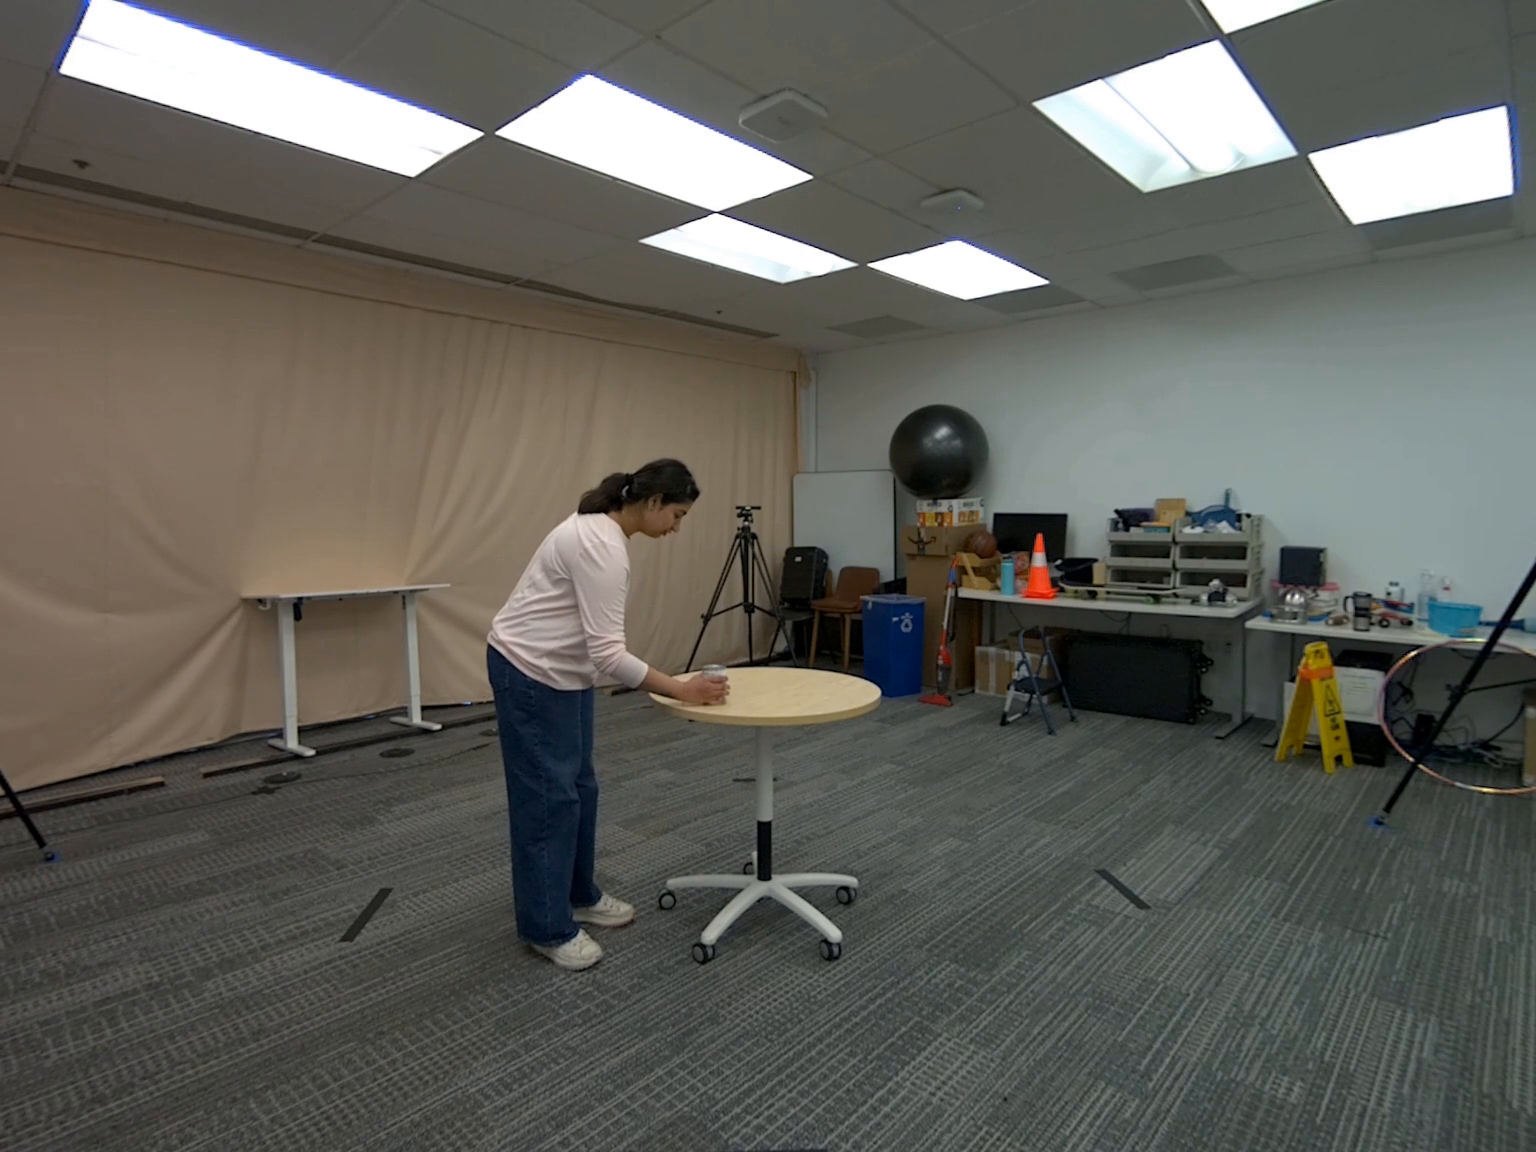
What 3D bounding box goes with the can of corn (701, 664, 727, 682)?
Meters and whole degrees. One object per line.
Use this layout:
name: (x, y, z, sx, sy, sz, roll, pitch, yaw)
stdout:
can of corn: (-0.164, 0.342, 2.582, 0.074, 0.110, 0.074, -3, 6, -1)
